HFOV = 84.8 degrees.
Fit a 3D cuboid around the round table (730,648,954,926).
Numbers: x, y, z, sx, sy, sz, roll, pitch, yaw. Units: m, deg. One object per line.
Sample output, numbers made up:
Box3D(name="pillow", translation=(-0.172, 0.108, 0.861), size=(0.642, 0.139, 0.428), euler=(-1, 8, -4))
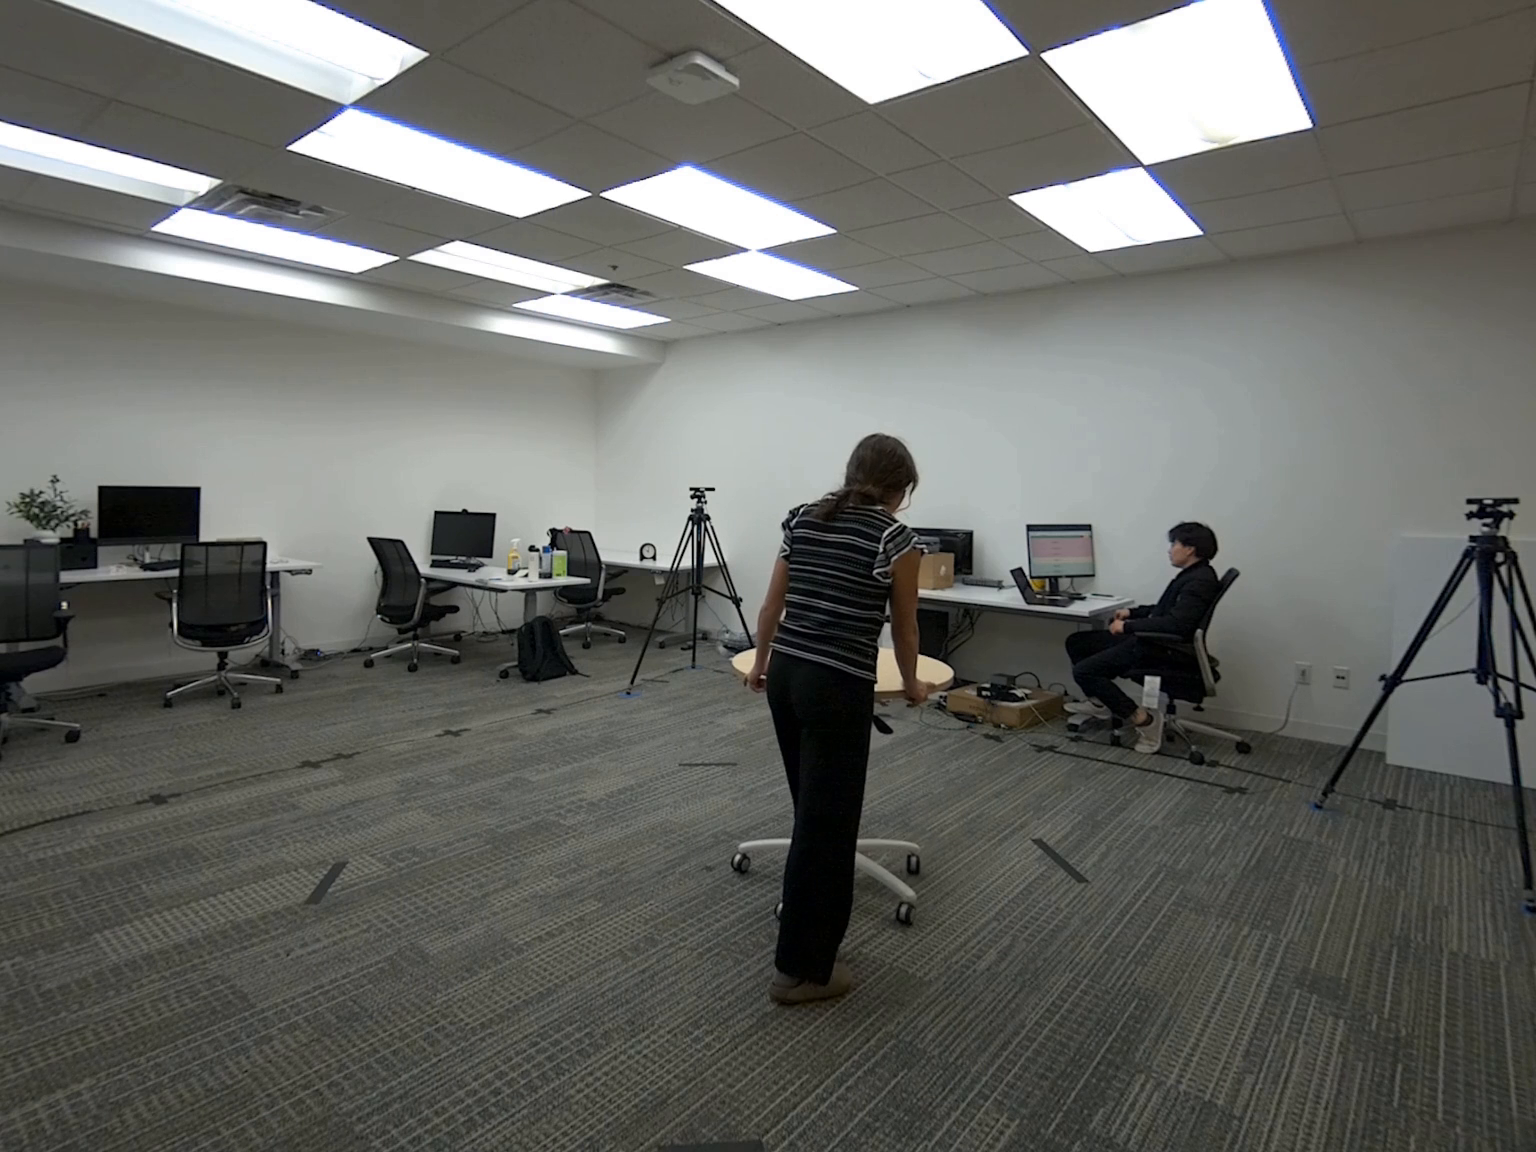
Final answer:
Box3D(name="round table", translation=(0.232, 0.696, 3.009), size=(0.763, 0.791, 0.768), euler=(1, 5, -2))
